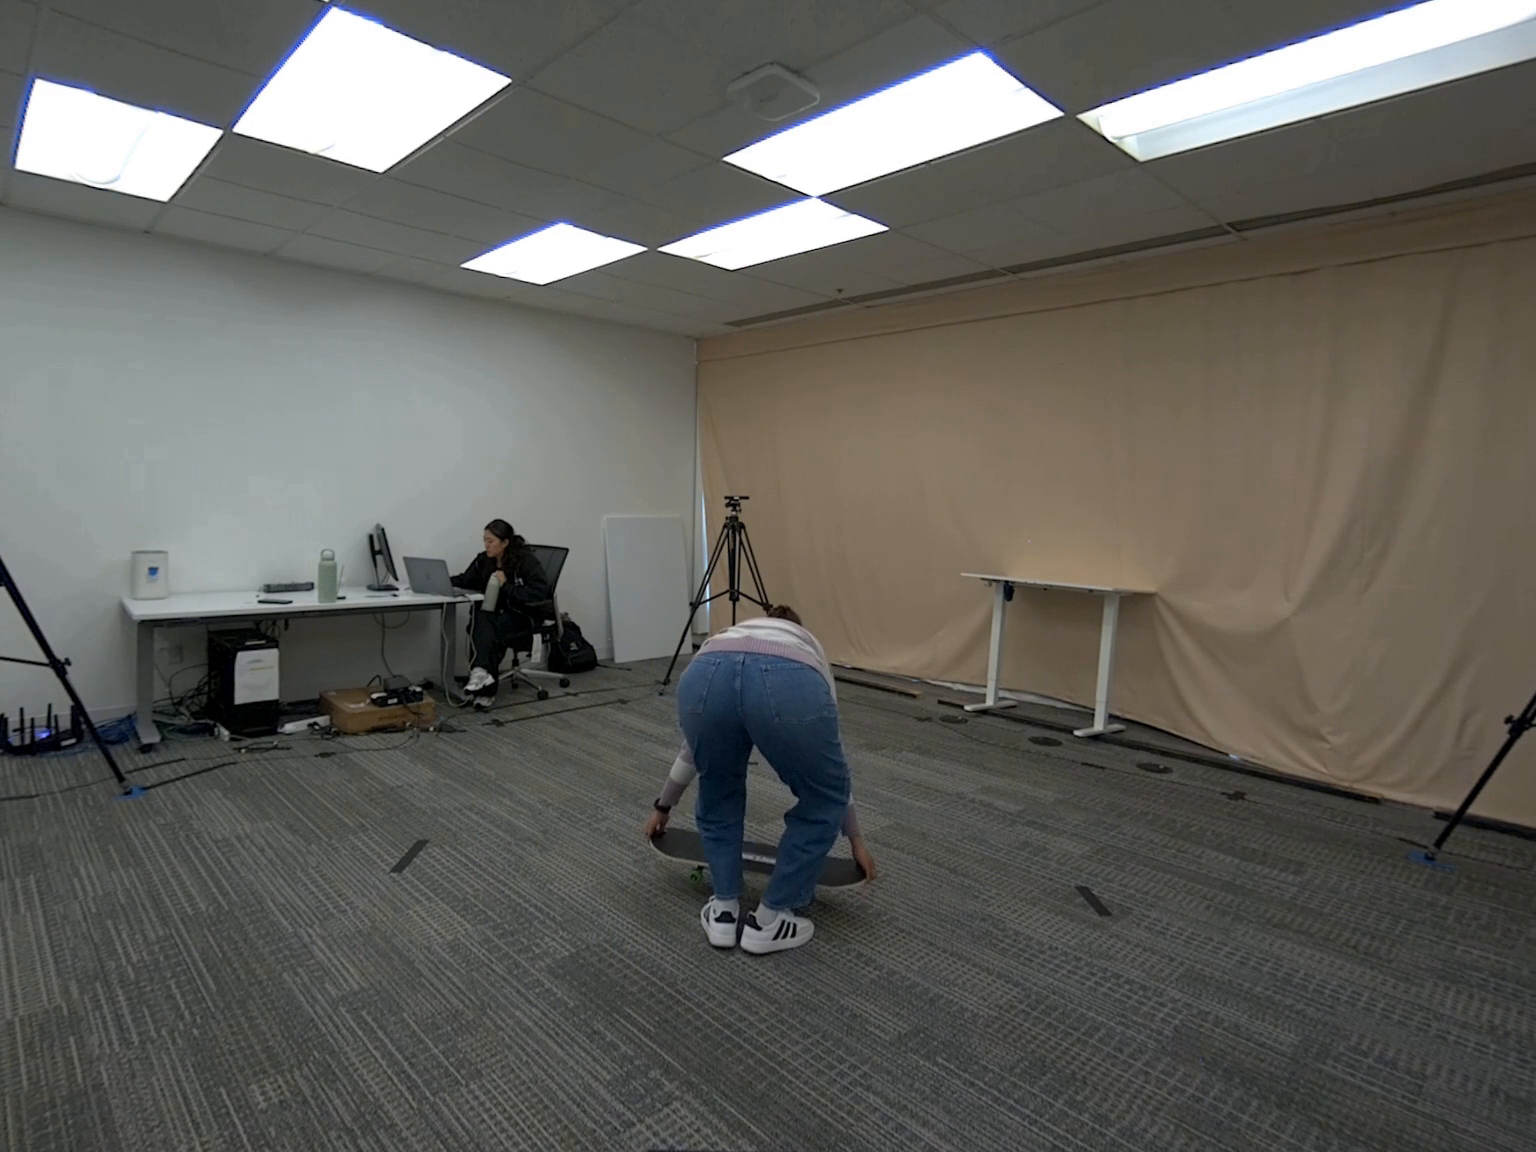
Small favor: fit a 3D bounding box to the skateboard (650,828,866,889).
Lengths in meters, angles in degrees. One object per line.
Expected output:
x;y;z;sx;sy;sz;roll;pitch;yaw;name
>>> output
-0.056;1.002;2.924;0.796;0.110;0.192;5;9;16;skateboard
